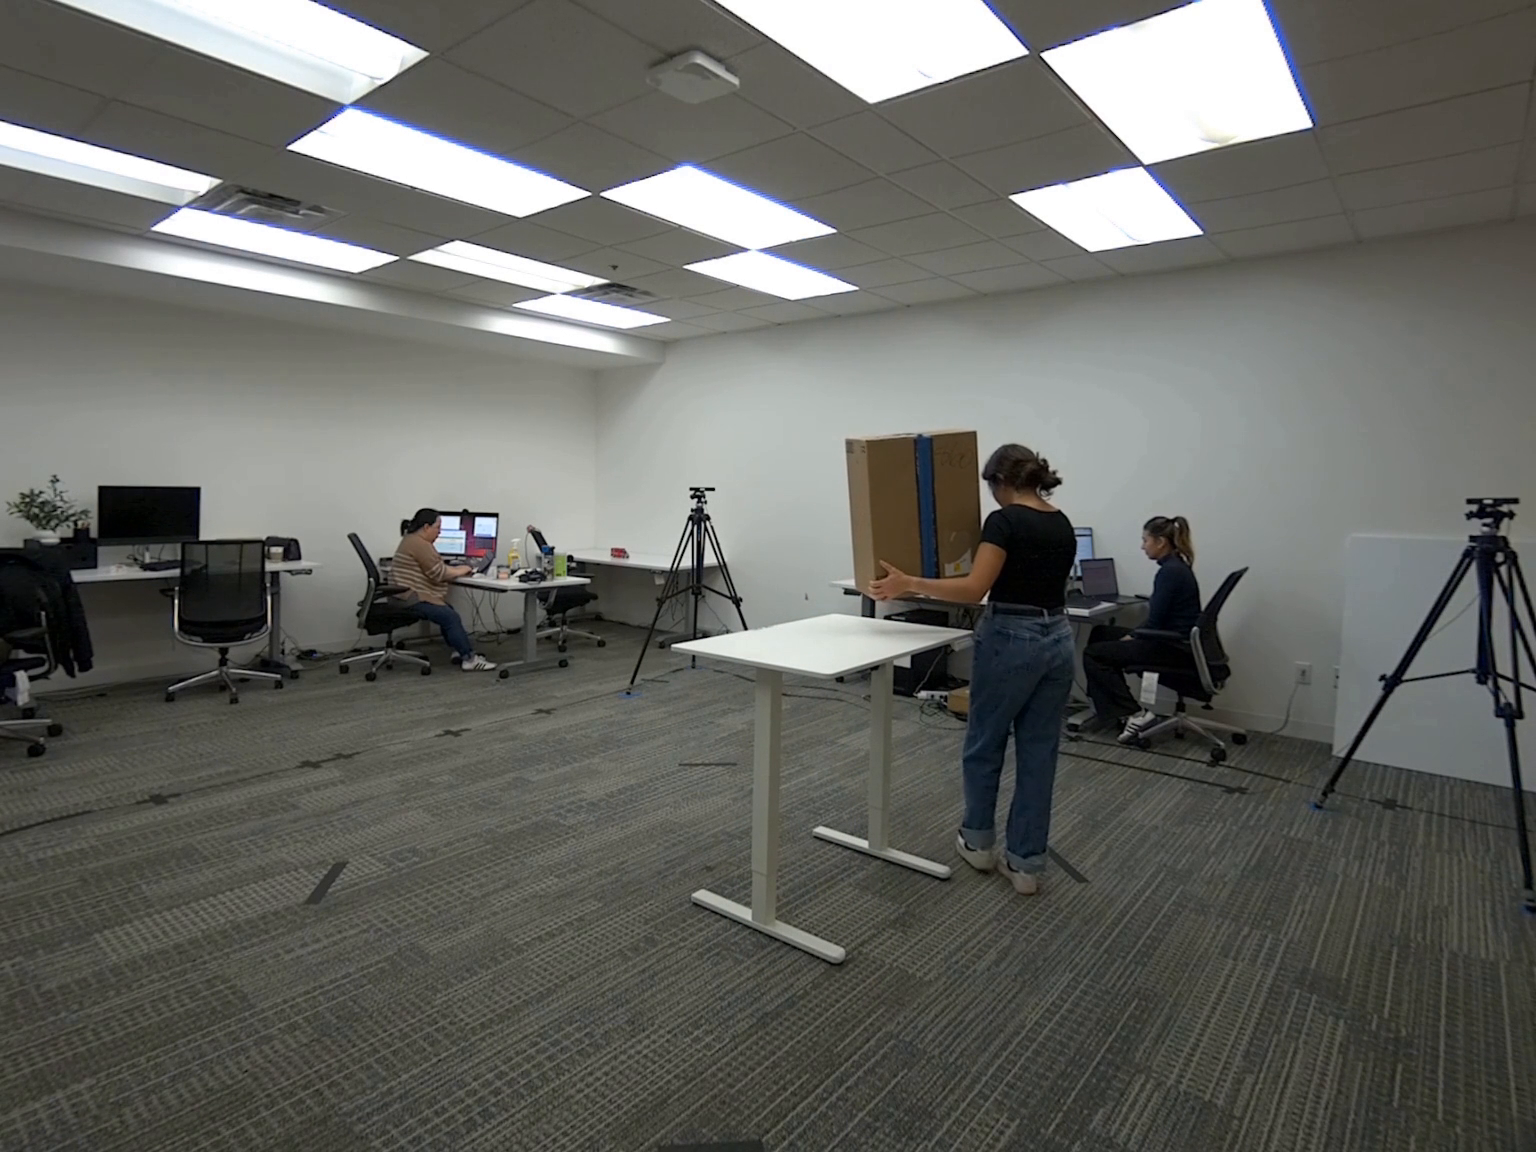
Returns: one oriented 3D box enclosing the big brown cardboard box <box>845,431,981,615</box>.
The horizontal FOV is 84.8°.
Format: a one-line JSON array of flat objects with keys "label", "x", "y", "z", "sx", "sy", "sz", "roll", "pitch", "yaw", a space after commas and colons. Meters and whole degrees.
[{"label": "big brown cardboard box", "x": 0.531, "y": -0.228, "z": 3.078, "sx": 0.413, "sy": 0.584, "sz": 0.238, "roll": -7, "pitch": 8, "yaw": -11}]
